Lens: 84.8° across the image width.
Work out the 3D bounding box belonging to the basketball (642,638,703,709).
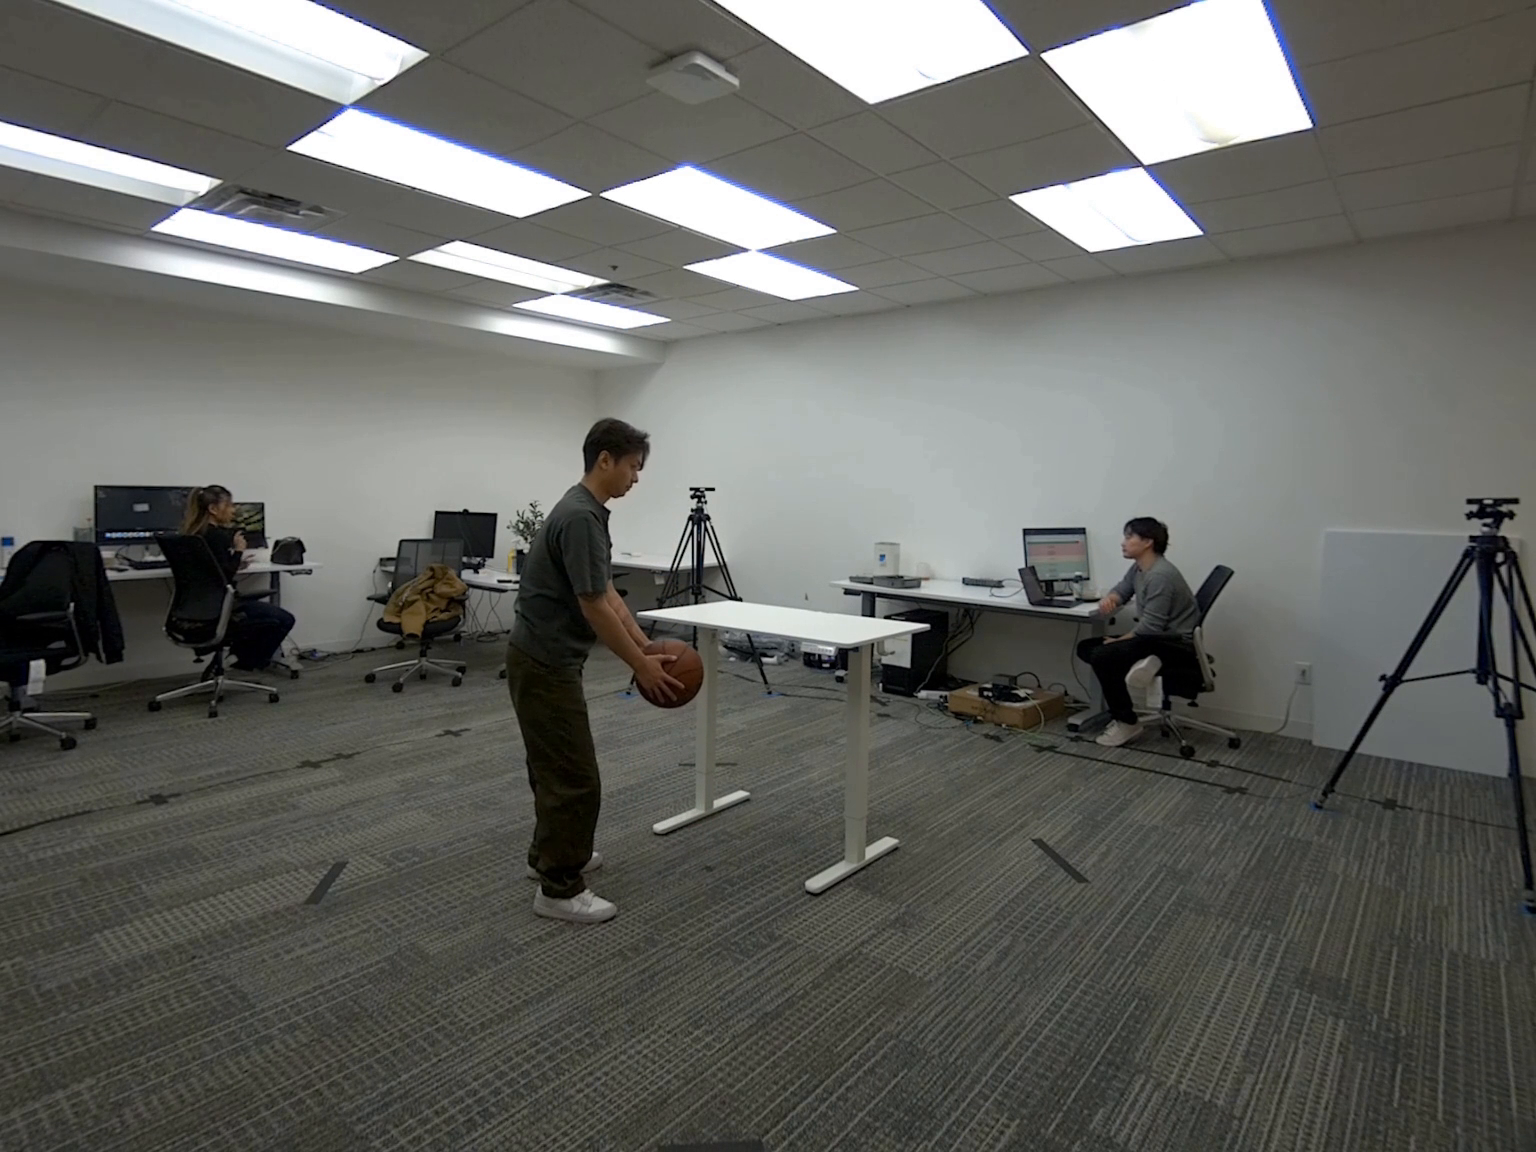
[{"bbox_3d":[-0.375,0.333,2.904,0.235,0.235,0.237,1,4,-2],"label":"basketball"}]
